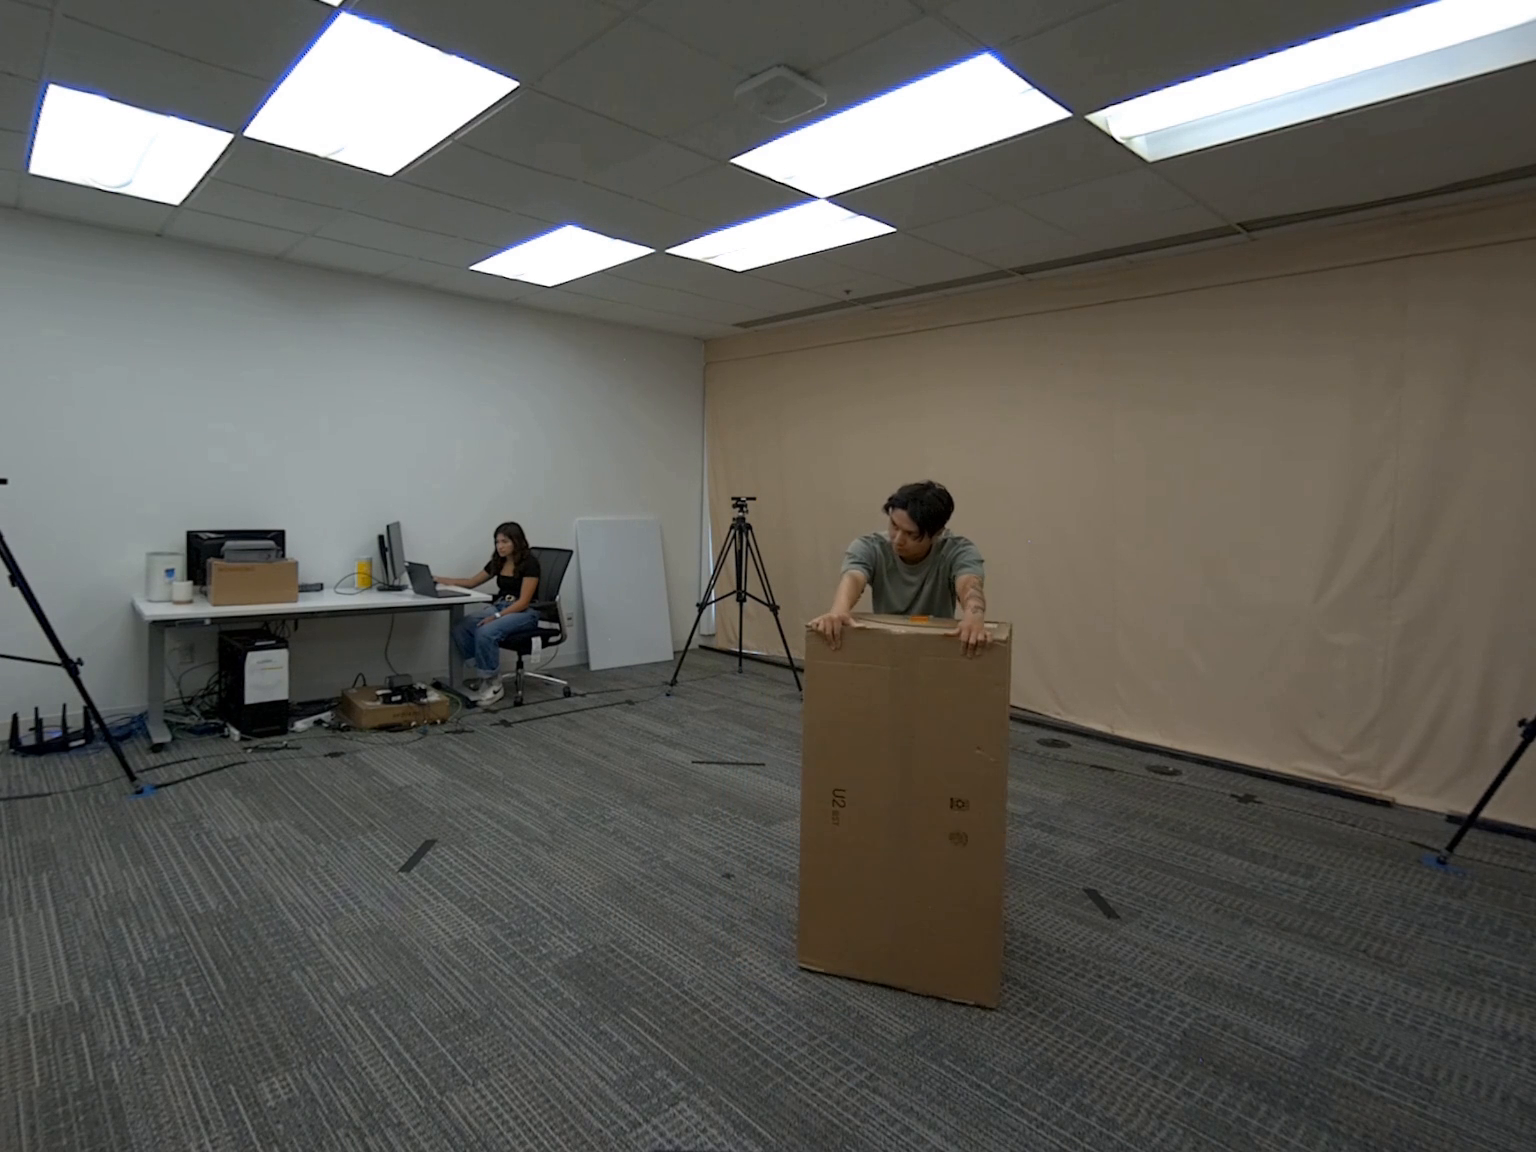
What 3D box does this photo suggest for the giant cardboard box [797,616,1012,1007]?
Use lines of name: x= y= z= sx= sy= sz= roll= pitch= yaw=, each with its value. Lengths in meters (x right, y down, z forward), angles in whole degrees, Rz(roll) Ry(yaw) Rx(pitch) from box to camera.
giant cardboard box: x=0.424 y=0.655 z=2.587 sx=0.586 sy=1.025 sz=0.420 roll=2 pitch=1 yaw=19
